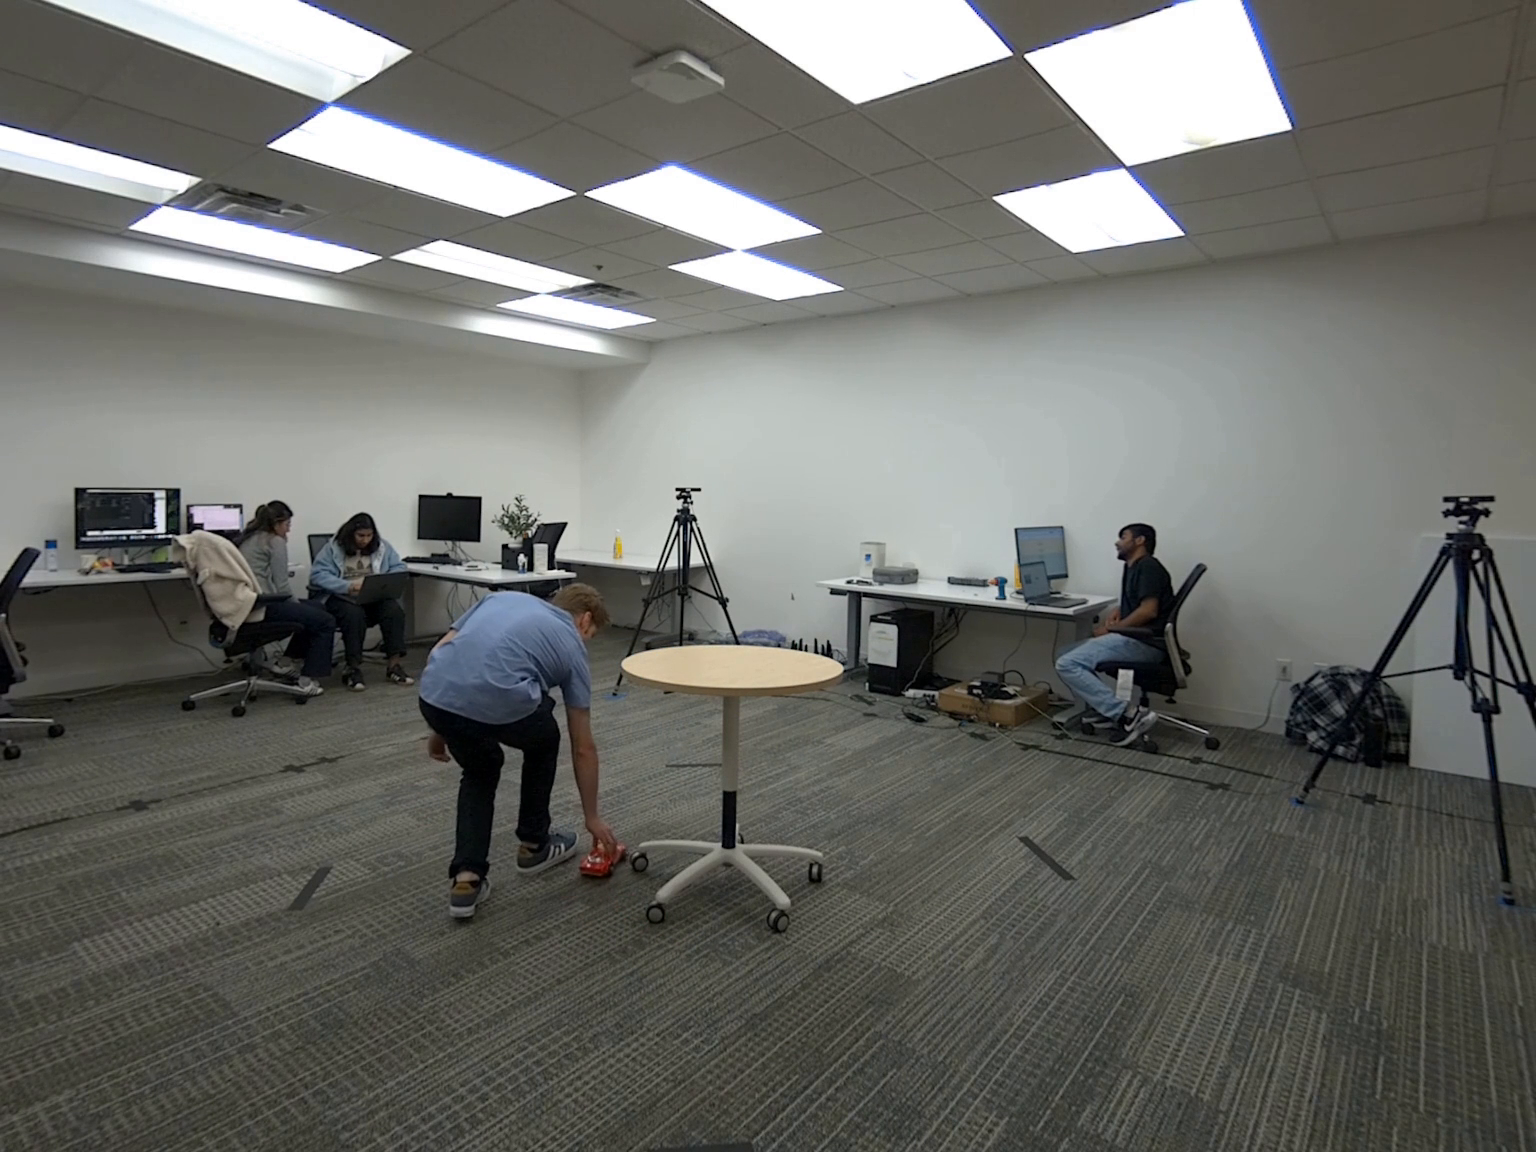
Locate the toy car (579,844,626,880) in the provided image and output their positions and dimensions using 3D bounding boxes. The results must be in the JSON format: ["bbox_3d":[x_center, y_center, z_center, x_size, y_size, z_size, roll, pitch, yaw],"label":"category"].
[{"bbox_3d":[-0.621,1.037,3.099,0.132,0.084,0.250,5,-6,10],"label":"toy car"}]
